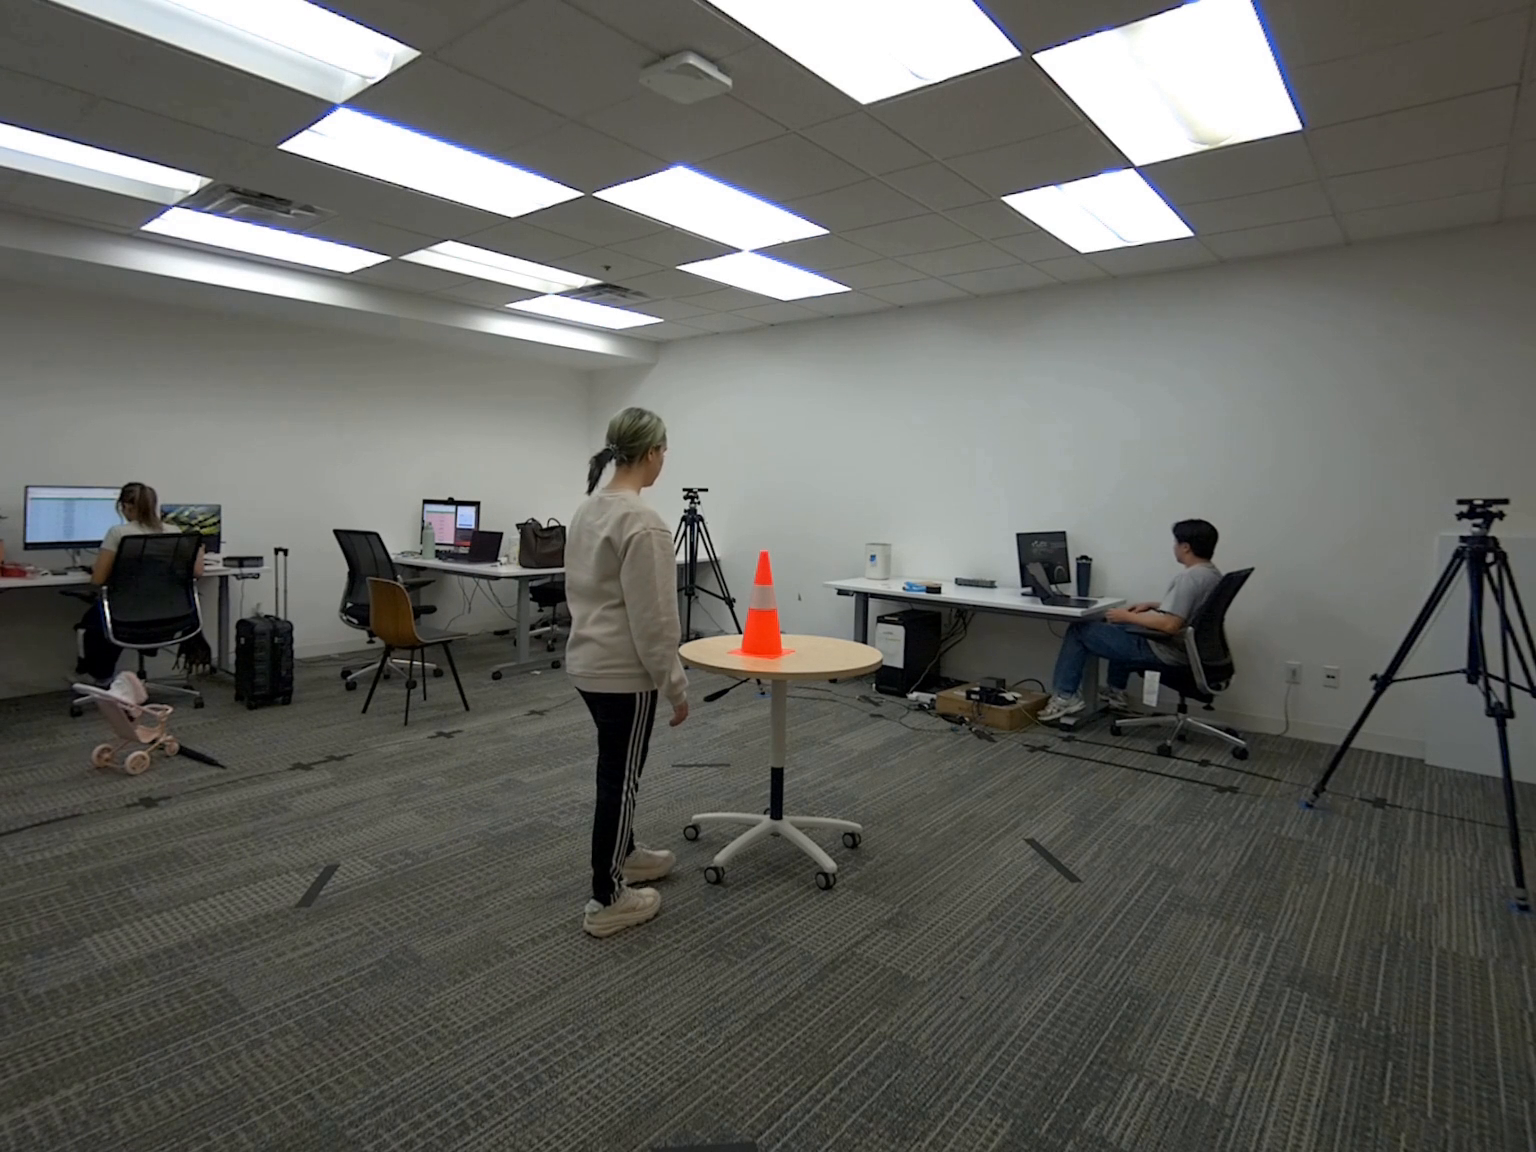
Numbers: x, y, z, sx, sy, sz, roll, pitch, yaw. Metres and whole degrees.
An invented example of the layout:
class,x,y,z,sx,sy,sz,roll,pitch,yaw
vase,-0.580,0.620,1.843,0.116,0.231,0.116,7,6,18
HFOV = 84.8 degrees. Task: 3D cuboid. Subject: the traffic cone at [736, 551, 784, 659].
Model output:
class,x,y,z,sx,sy,sz,roll,pitch,yaw
traffic cone,-0.027,0.097,3.181,0.211,0.382,0.198,5,5,33
